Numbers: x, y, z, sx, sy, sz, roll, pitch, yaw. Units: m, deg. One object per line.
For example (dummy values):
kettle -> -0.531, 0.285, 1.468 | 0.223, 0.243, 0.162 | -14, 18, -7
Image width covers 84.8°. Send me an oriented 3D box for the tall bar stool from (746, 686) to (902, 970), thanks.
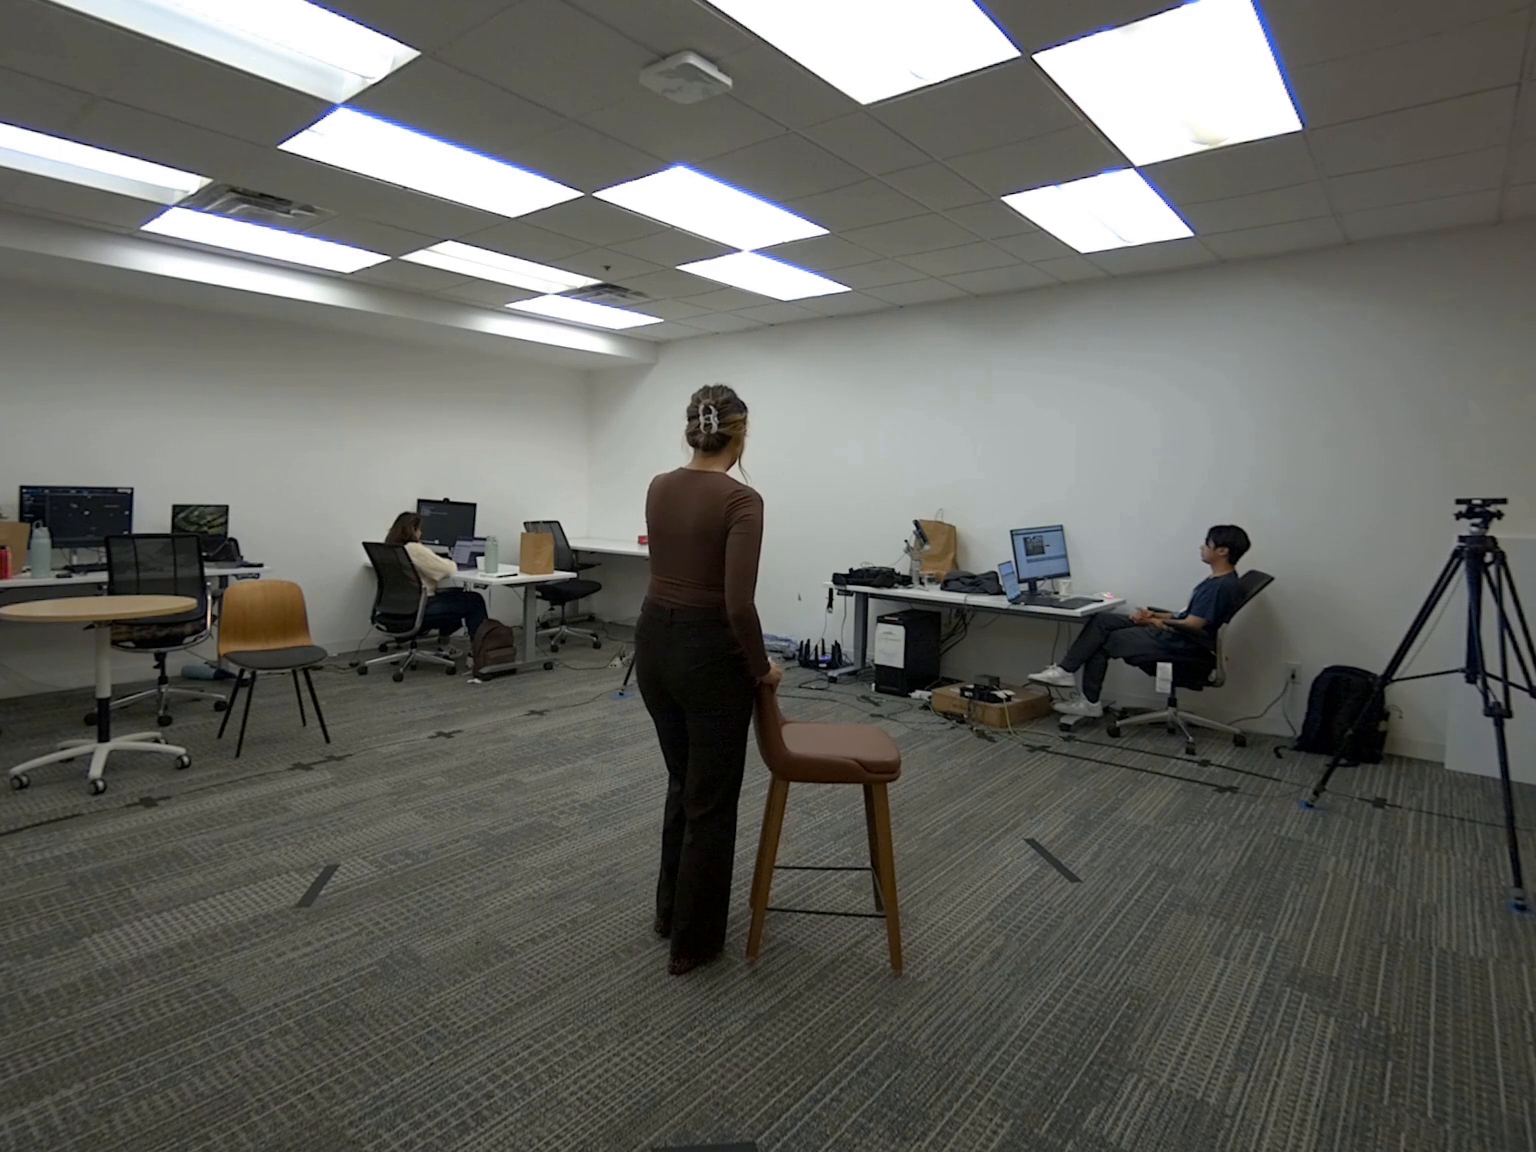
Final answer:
tall bar stool -> 0.161, 0.679, 2.654 | 0.470, 0.889, 0.455 | -1, 1, 3
